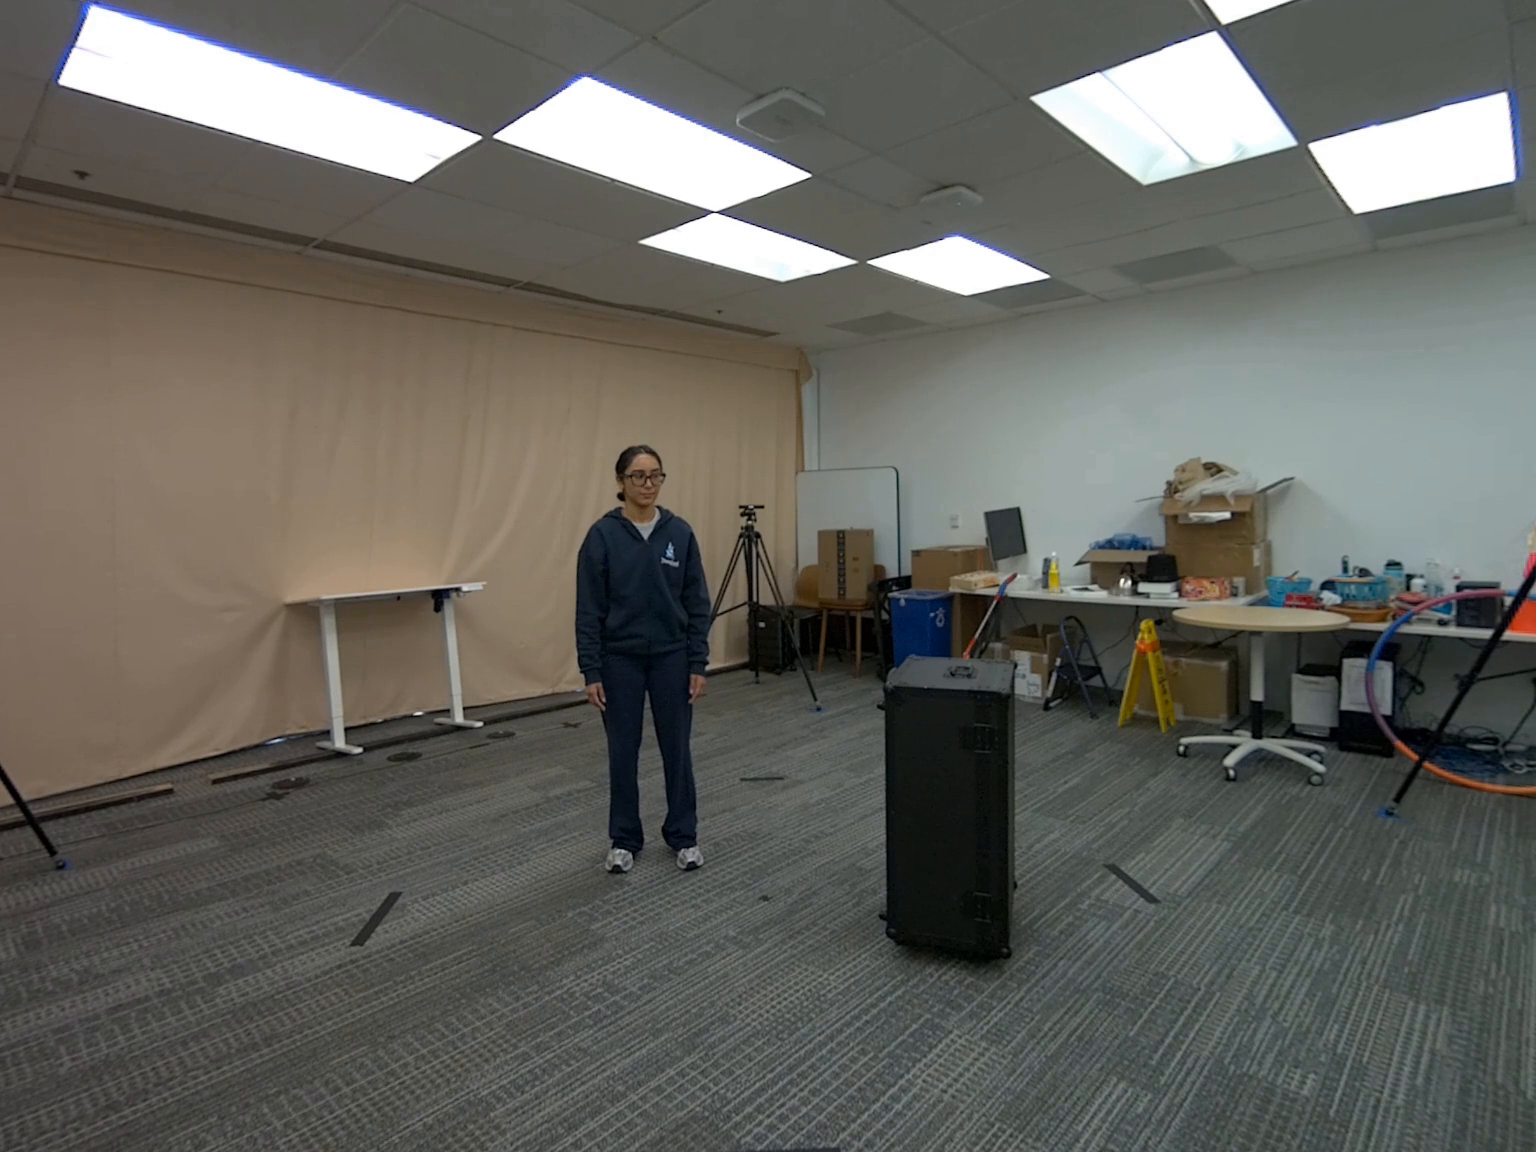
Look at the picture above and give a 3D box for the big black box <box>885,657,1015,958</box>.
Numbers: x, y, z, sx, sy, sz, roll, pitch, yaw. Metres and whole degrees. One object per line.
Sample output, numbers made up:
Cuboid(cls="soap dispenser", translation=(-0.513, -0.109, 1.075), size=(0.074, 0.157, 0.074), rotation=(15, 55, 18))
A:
Cuboid(cls="big black box", translation=(0.589, 0.732, 2.691), size=(0.405, 0.859, 0.511), rotation=(-1, 4, 20))
